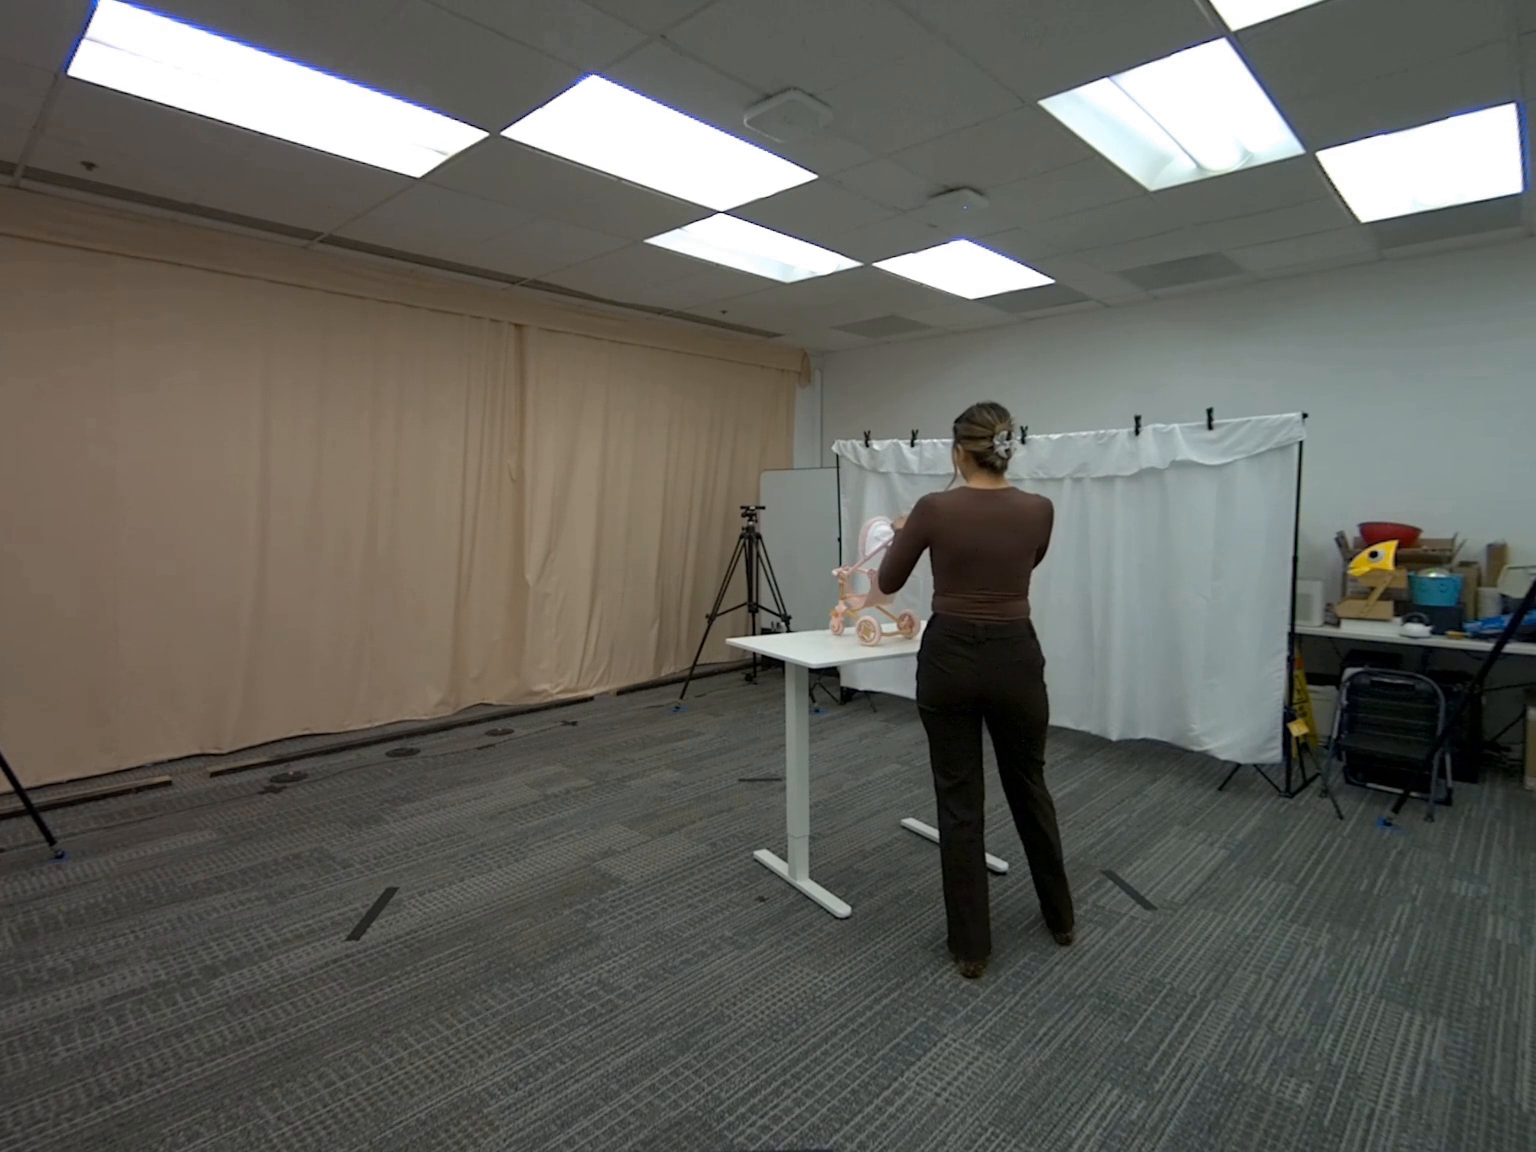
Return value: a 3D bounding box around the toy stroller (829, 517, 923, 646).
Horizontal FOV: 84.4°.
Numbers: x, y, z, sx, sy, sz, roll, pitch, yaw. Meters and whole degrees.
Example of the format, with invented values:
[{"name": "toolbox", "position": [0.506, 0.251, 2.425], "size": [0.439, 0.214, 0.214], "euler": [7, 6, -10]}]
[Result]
[{"name": "toy stroller", "position": [0.410, 0.019, 3.178], "size": [0.273, 0.531, 0.354], "euler": [-2, 18, -39]}]
